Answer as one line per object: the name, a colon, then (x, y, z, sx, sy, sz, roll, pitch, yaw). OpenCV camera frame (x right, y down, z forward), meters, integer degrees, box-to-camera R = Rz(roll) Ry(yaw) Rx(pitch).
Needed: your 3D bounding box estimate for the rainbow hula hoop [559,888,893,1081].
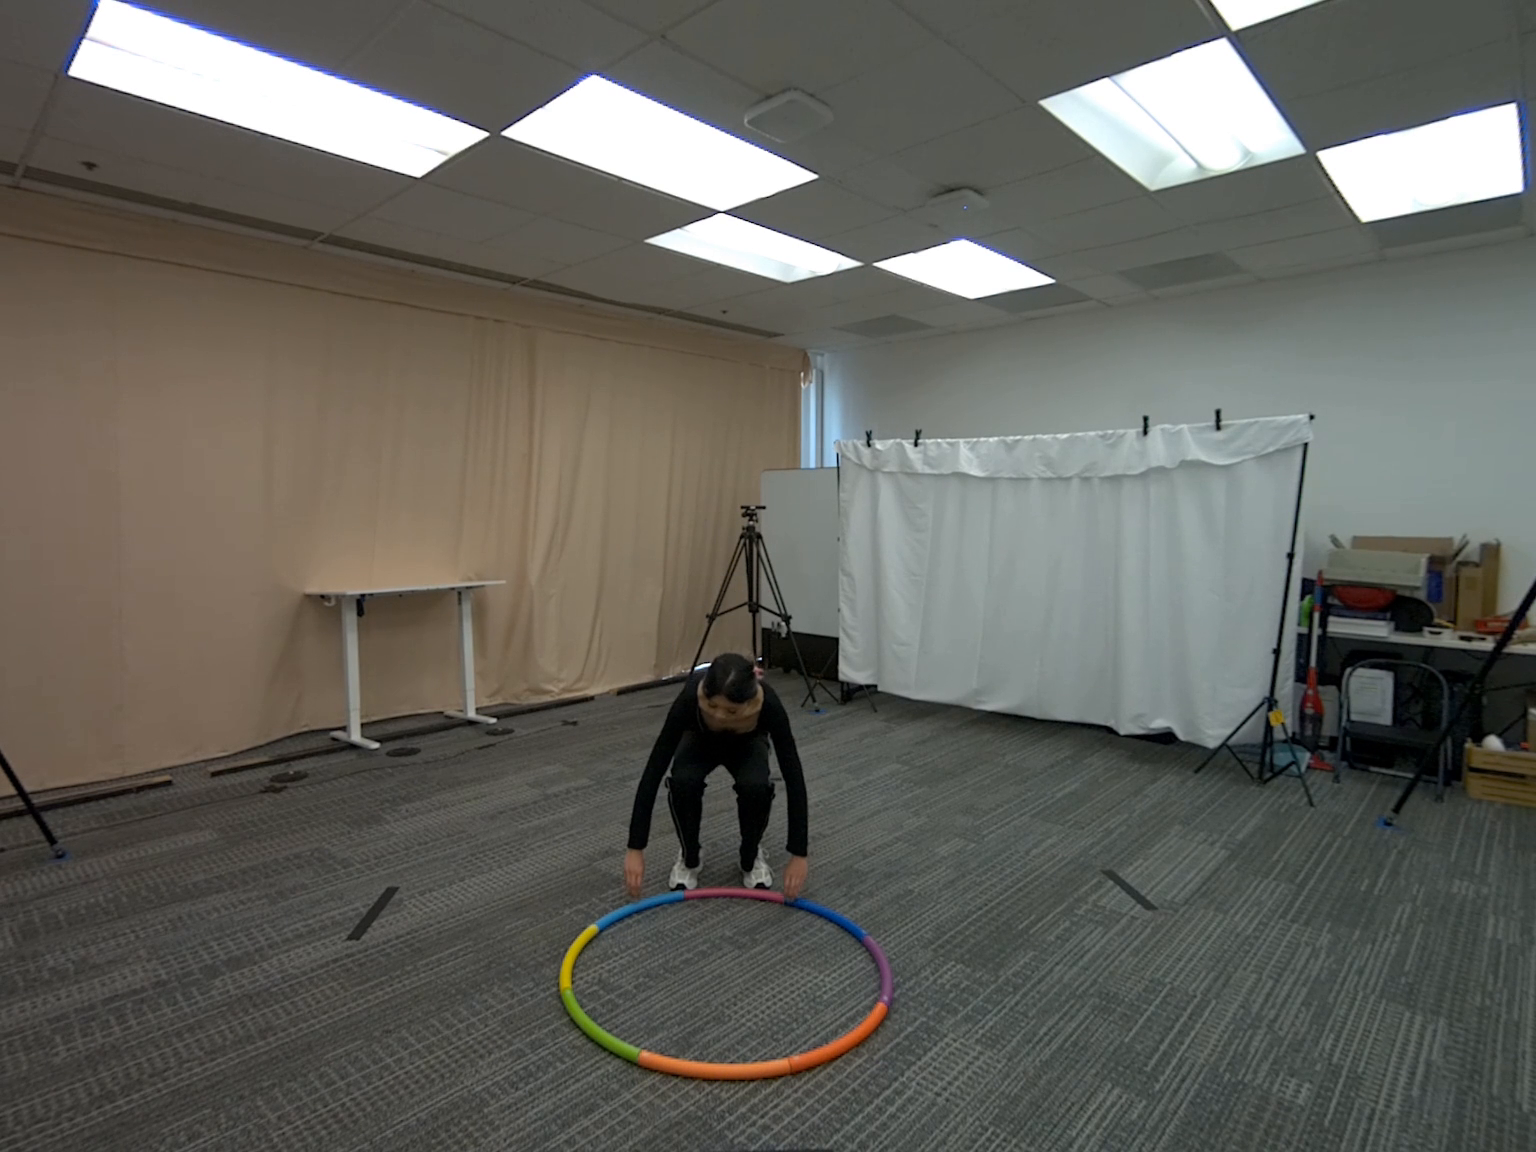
rainbow hula hoop: (-0.125, 1.154, 2.525, 0.978, 0.035, 0.982, 0, 4, -2)
